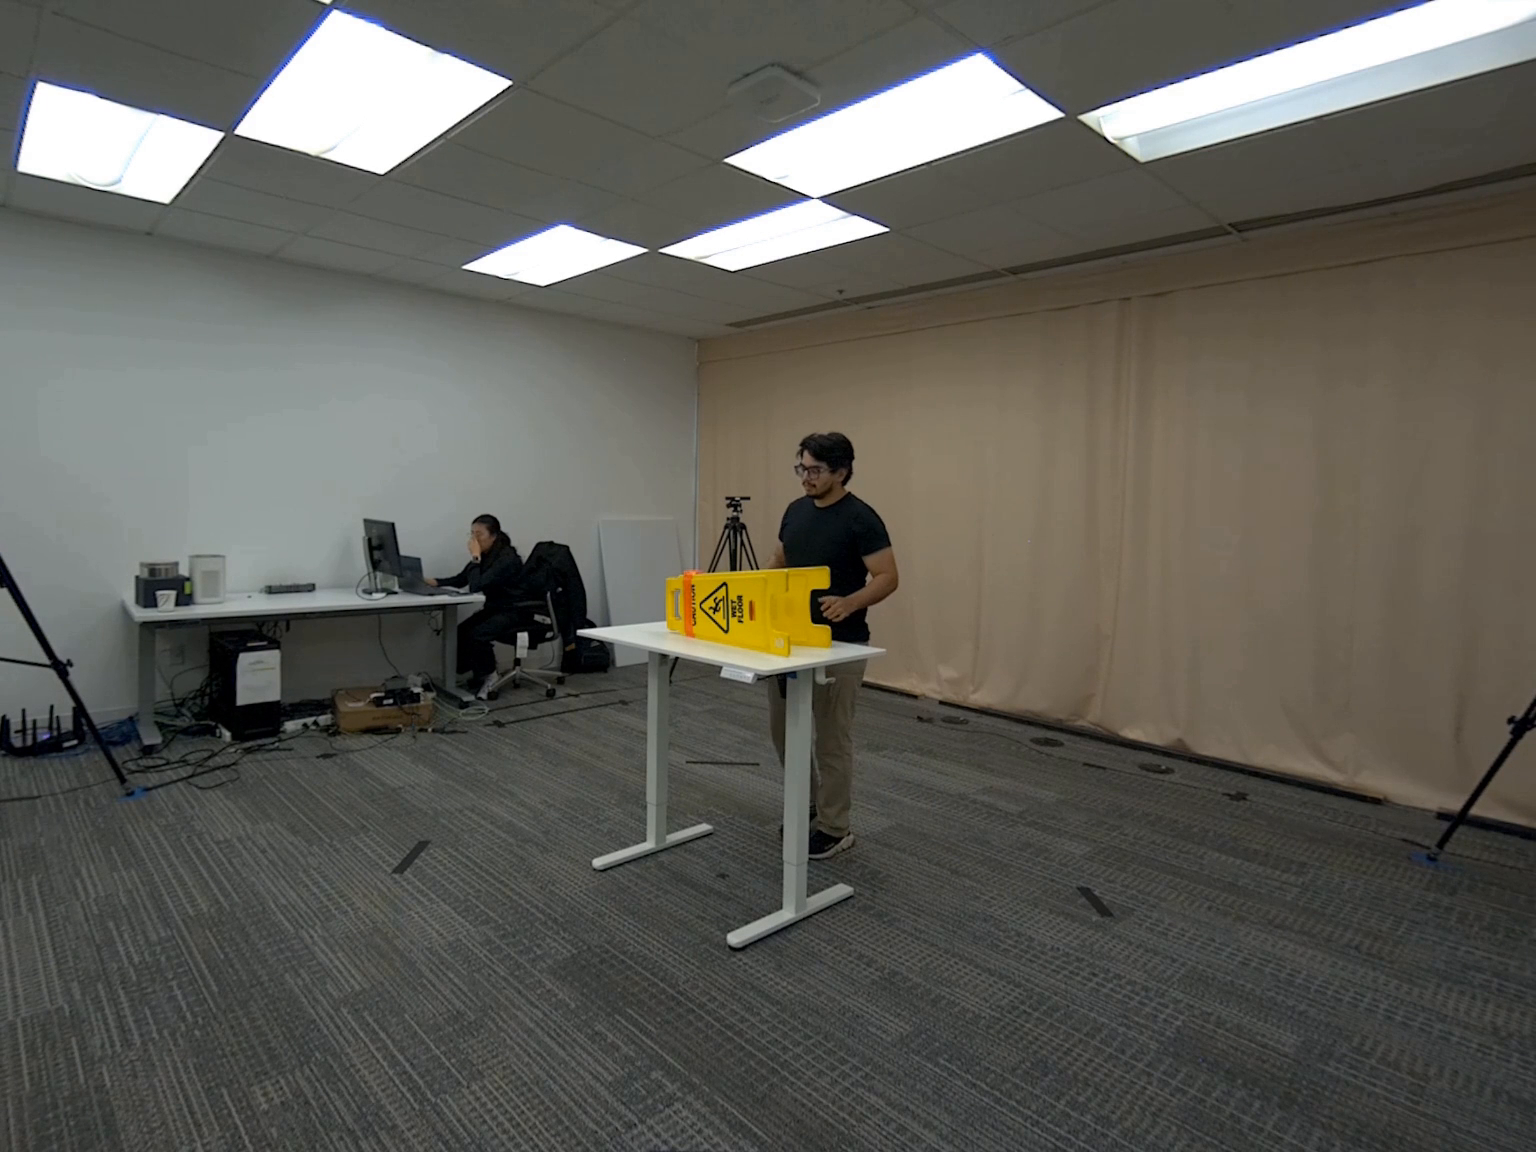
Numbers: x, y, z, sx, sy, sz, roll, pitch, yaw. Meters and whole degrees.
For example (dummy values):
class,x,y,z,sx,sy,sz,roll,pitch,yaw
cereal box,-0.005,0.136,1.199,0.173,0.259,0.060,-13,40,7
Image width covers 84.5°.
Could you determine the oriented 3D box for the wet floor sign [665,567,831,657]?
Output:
class,x,y,z,sx,sy,sz,roll,pitch,yaw
wet floor sign,-0.129,0.112,2.980,0.661,0.282,0.283,1,3,37
